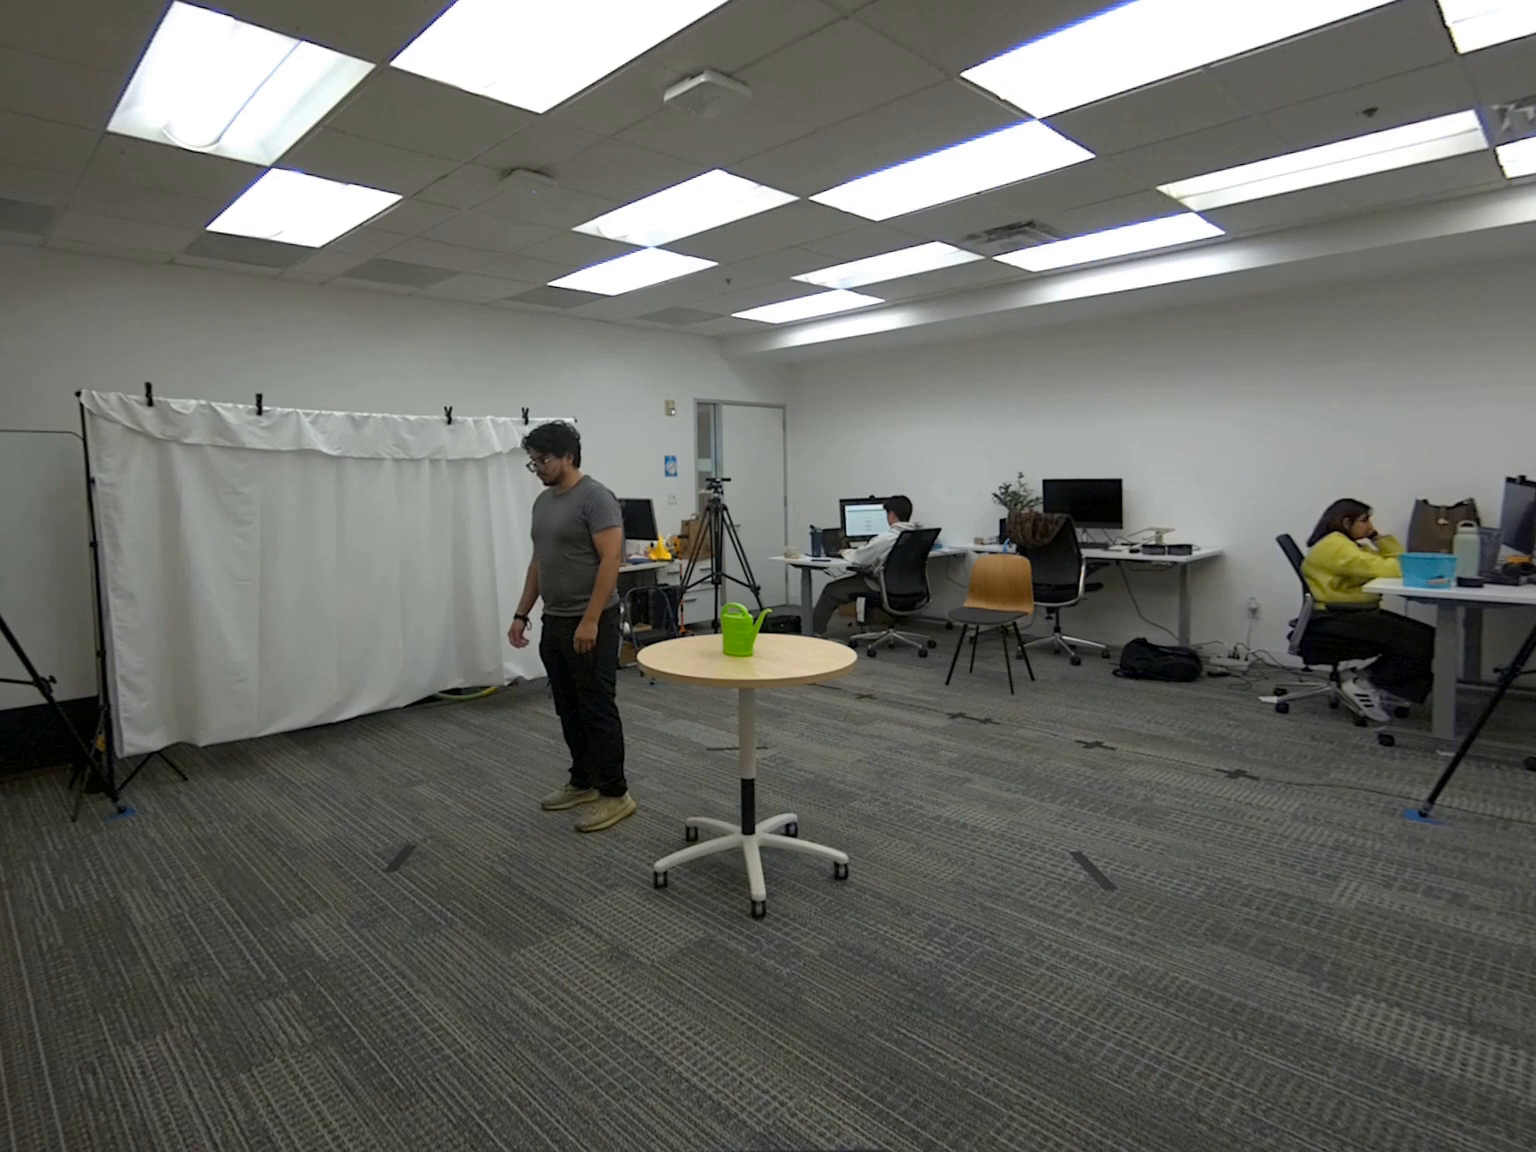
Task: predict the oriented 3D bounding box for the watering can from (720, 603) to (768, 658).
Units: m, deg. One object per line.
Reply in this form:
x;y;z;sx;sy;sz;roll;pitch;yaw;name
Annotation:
-0.085;0.189;2.950;0.096;0.176;0.285;-2;5;-23;watering can
